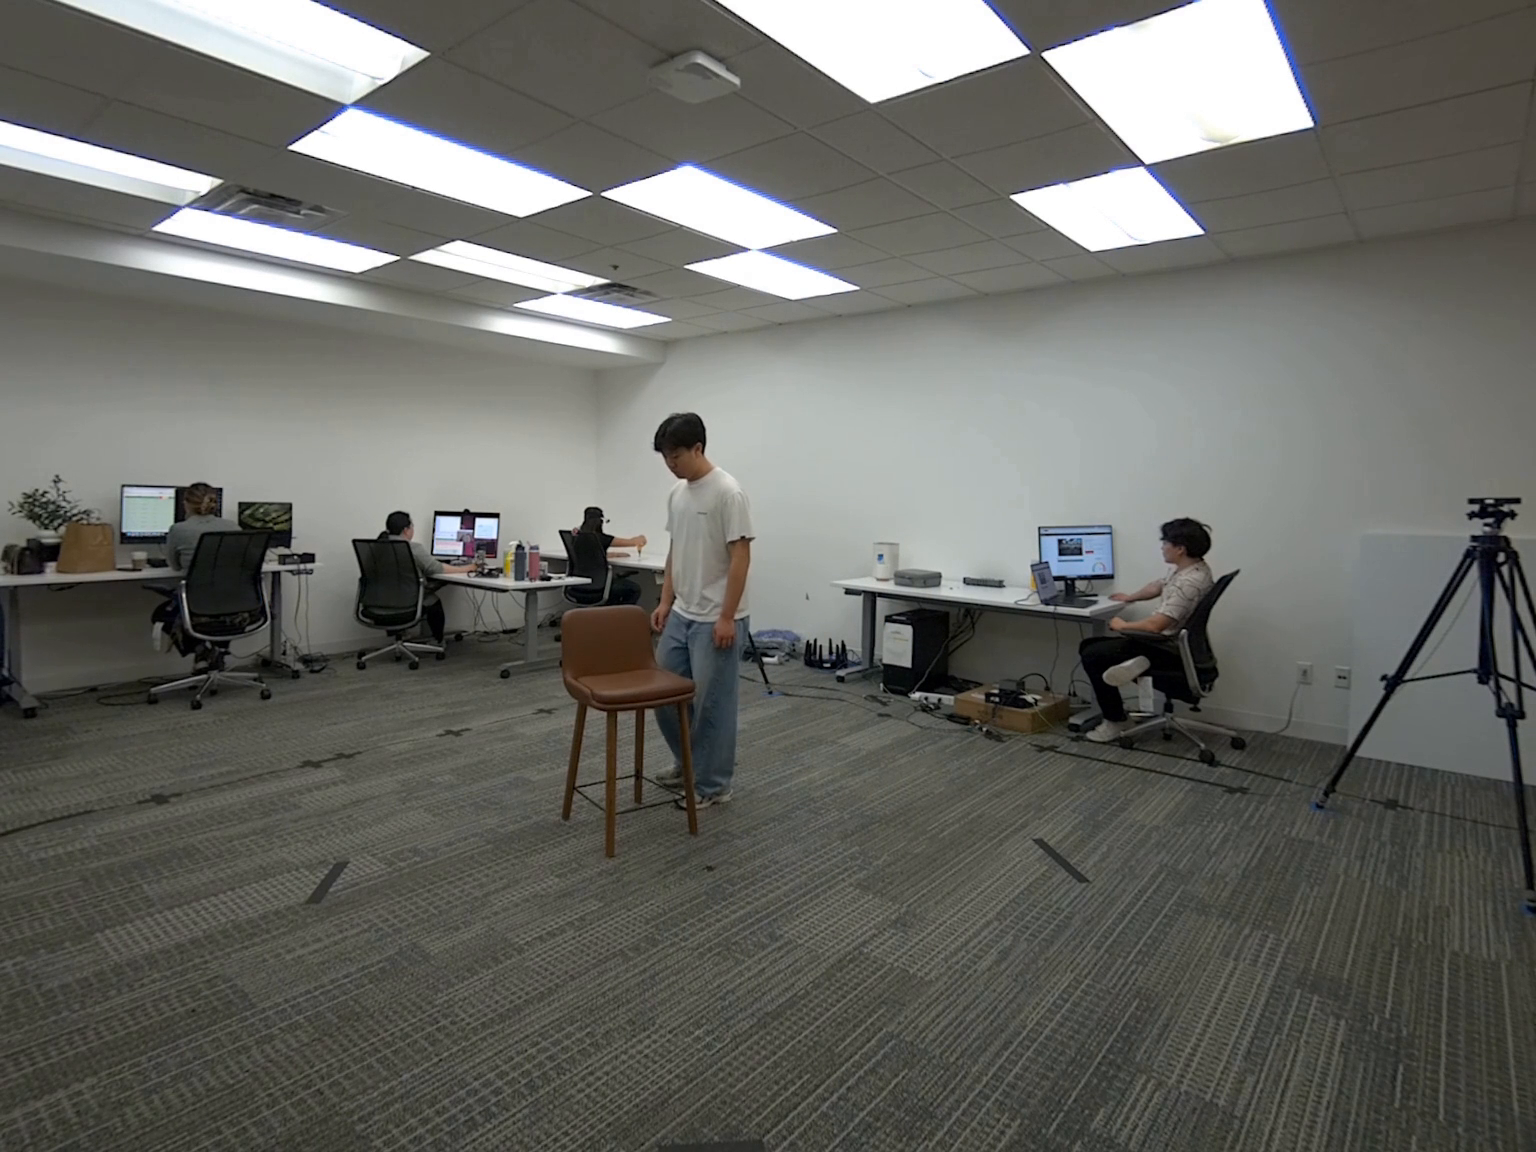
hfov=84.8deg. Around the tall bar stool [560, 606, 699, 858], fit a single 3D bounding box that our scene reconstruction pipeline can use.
[{"bbox_3d":[-0.590,0.591,3.461,0.443,0.888,0.482,-1,2,-37],"label":"tall bar stool"}]
